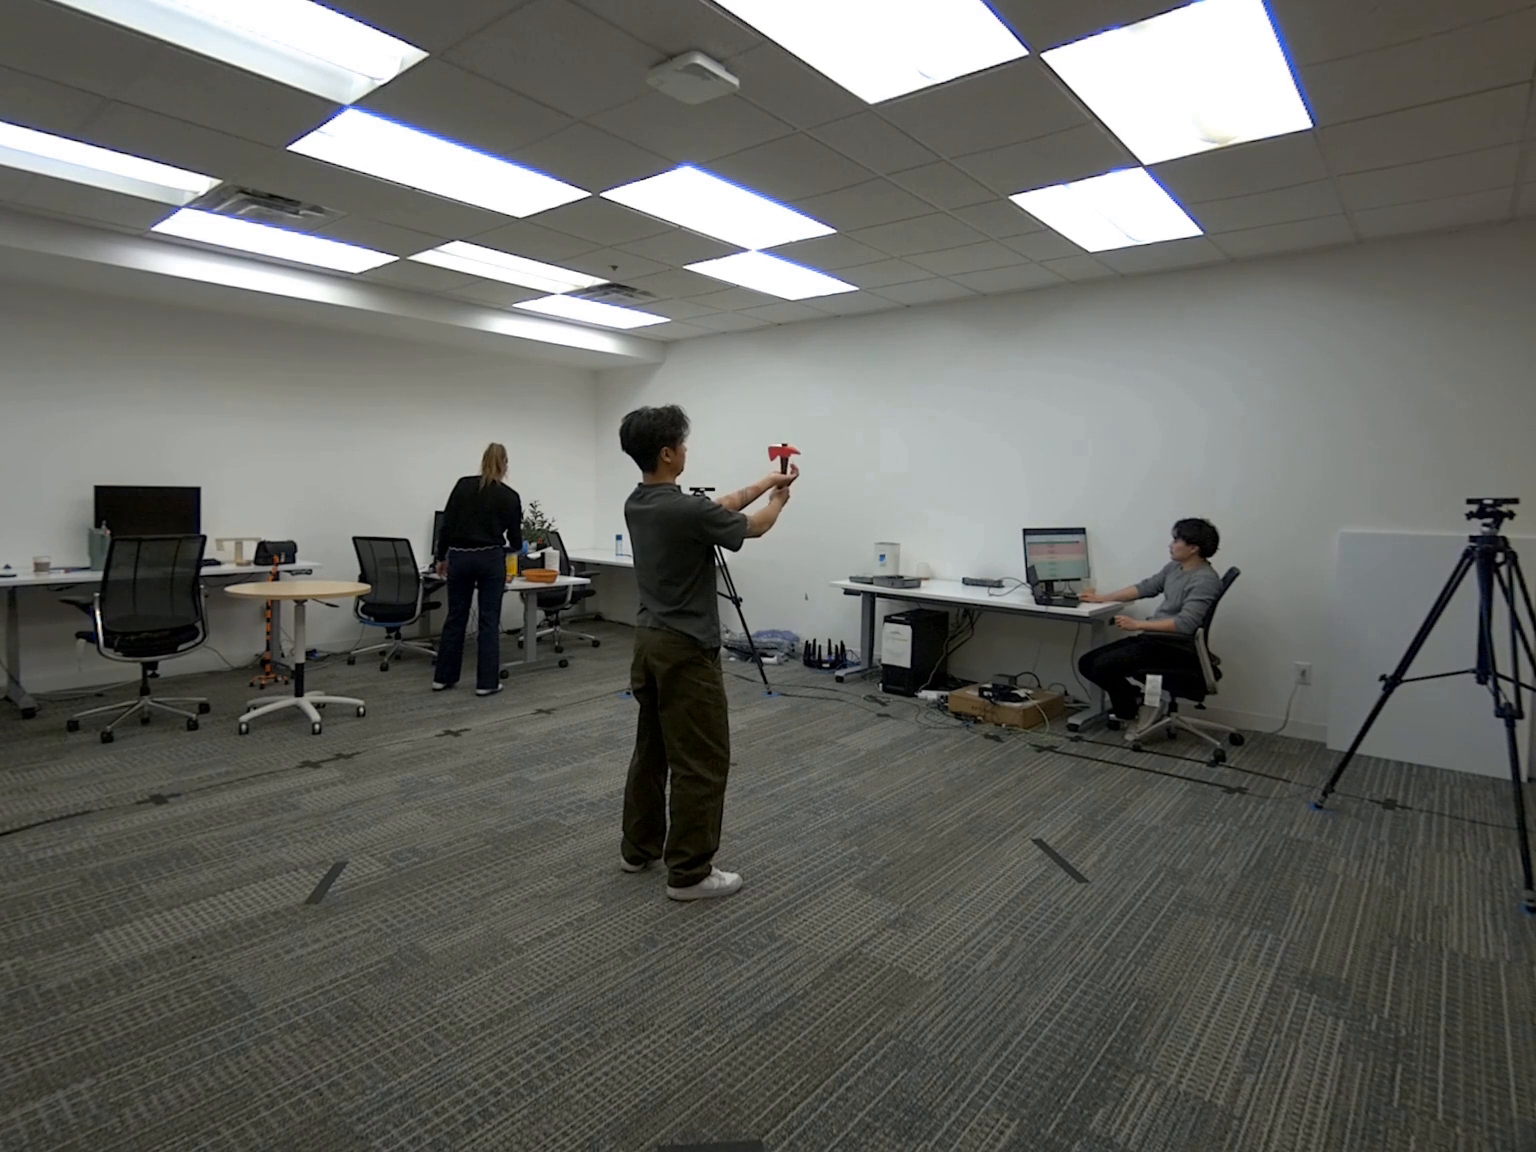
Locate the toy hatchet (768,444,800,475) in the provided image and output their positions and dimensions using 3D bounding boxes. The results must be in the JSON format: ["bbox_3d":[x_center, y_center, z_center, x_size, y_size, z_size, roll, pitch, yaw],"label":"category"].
[{"bbox_3d":[0.014,-0.396,3.281,0.134,0.266,0.029,31,33,14],"label":"toy hatchet"}]
